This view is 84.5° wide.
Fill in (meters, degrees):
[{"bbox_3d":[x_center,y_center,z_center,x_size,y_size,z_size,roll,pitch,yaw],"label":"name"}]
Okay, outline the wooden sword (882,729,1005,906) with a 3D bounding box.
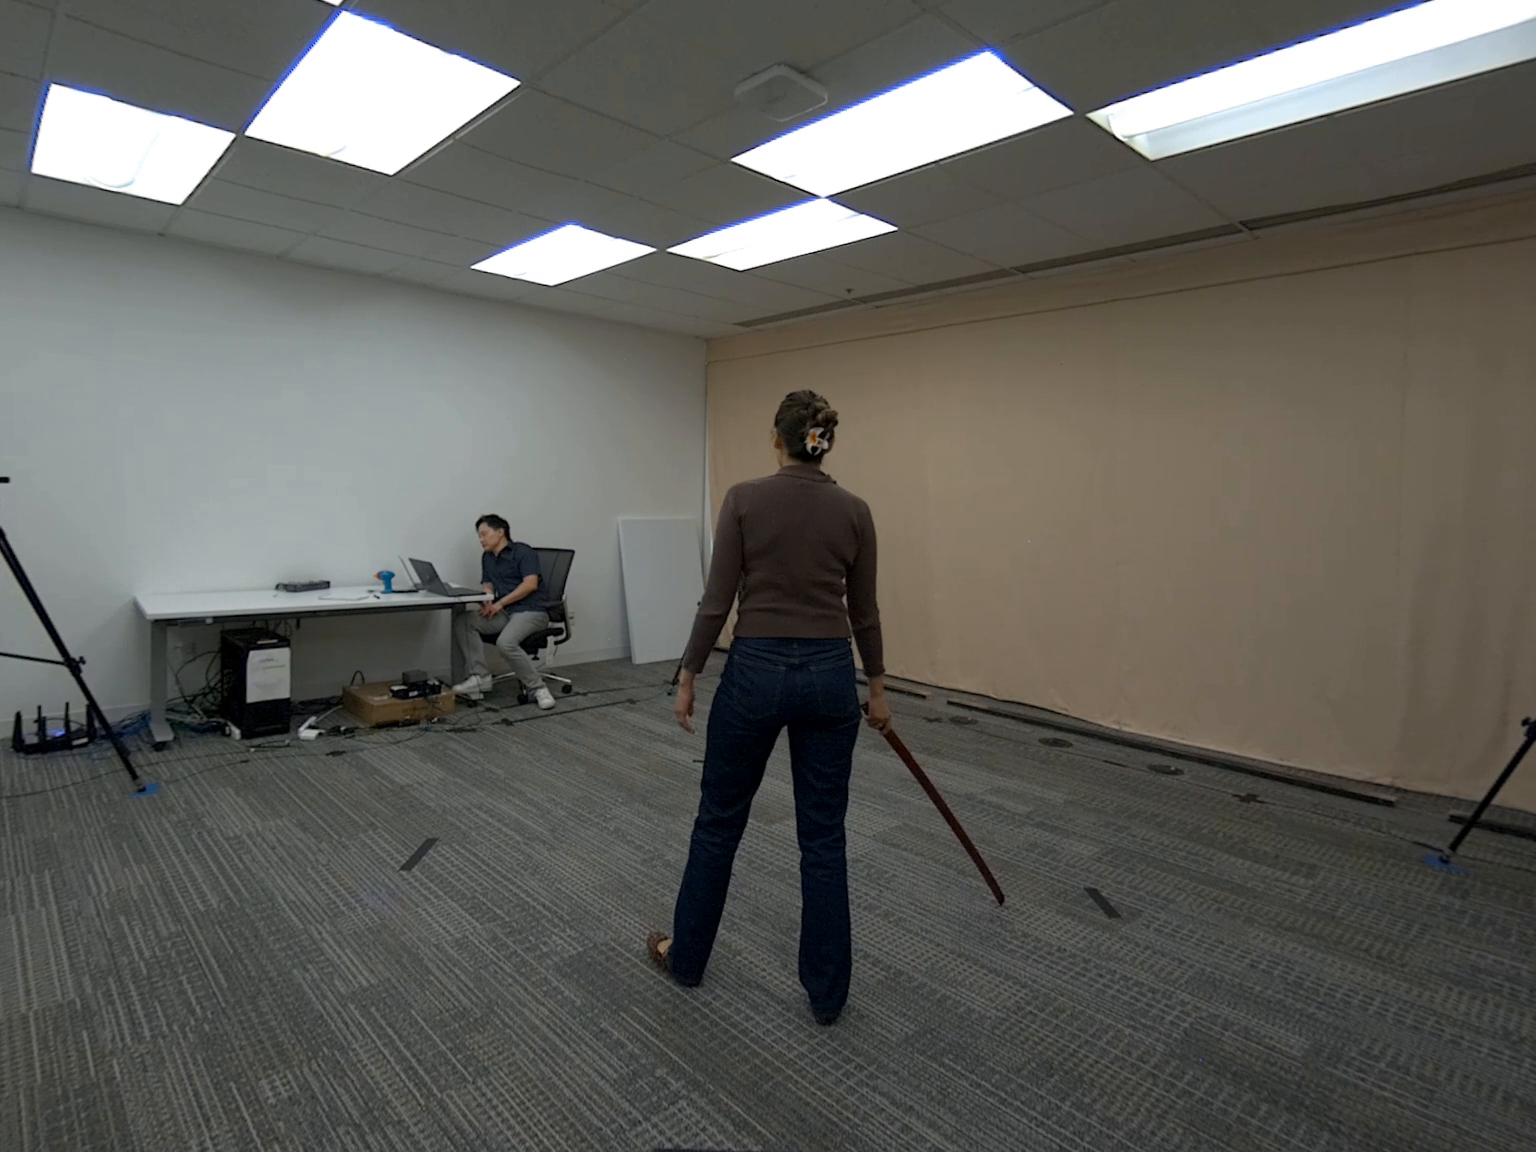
[{"bbox_3d":[0.553,0.757,2.738,0.052,1.001,0.024,-5,37,48],"label":"wooden sword"}]
